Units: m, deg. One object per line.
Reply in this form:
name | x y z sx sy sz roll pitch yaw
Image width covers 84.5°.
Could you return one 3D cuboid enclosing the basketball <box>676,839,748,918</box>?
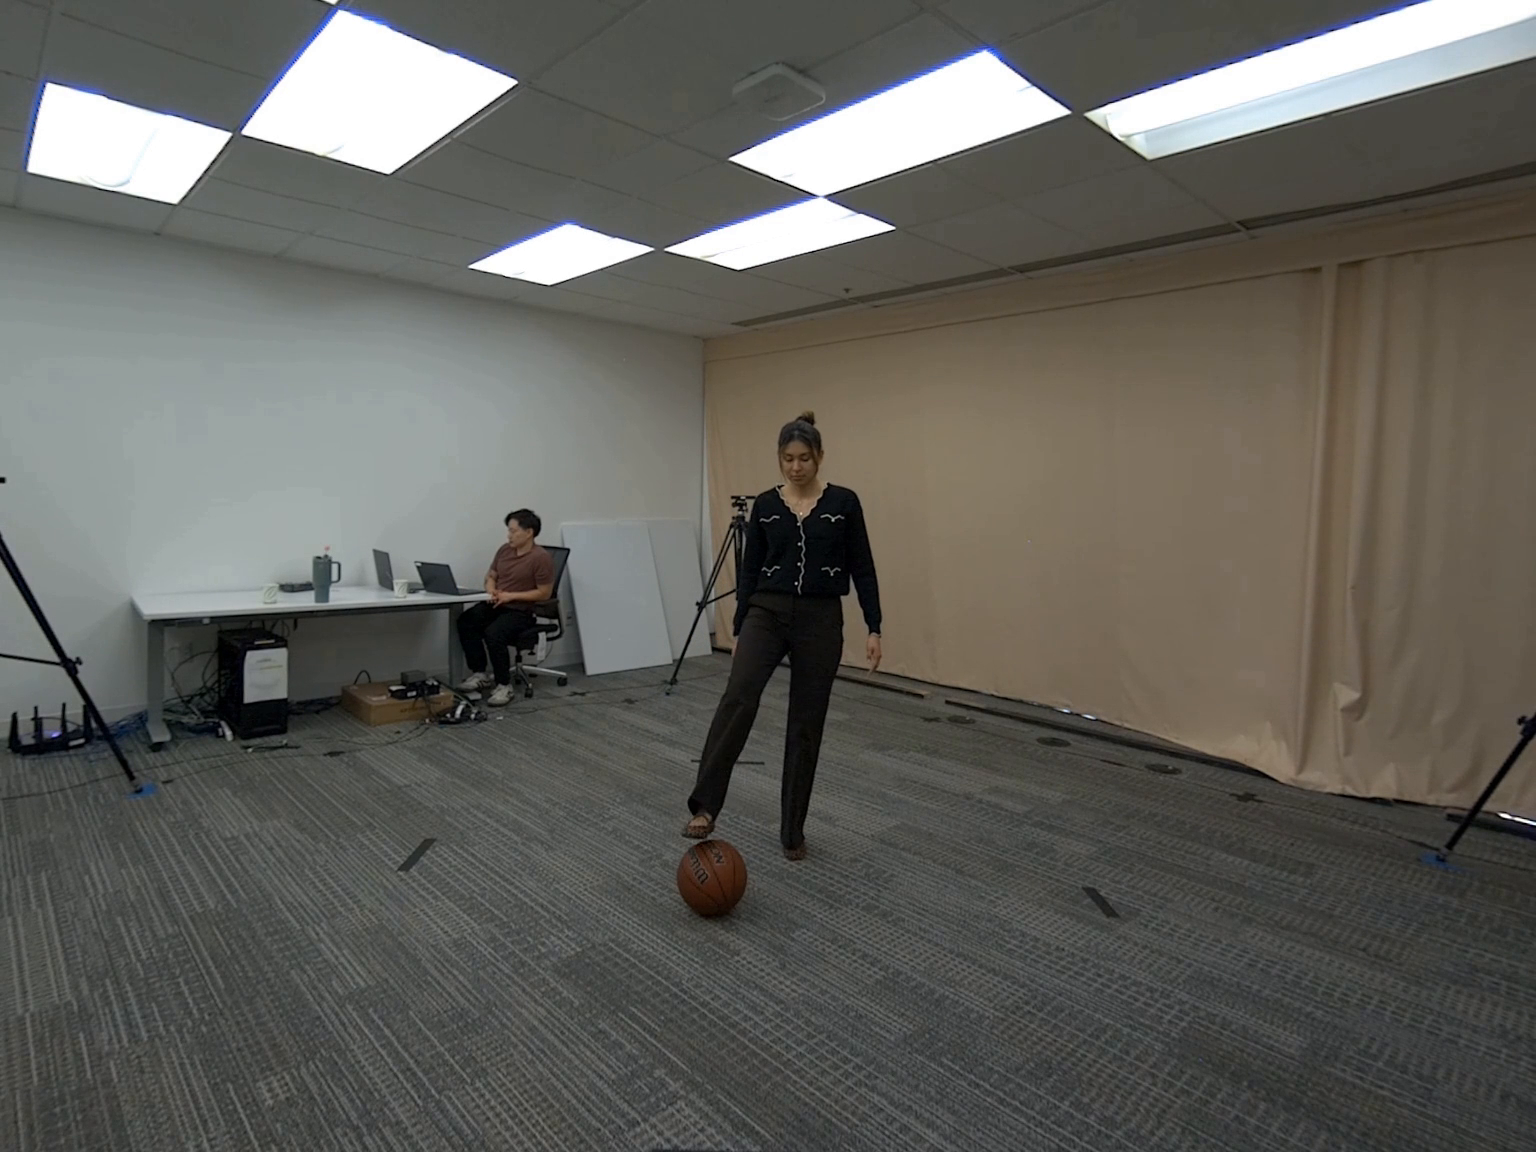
basketball | -0.189 1.009 2.822 0.236 0.235 0.237 1 4 -1
